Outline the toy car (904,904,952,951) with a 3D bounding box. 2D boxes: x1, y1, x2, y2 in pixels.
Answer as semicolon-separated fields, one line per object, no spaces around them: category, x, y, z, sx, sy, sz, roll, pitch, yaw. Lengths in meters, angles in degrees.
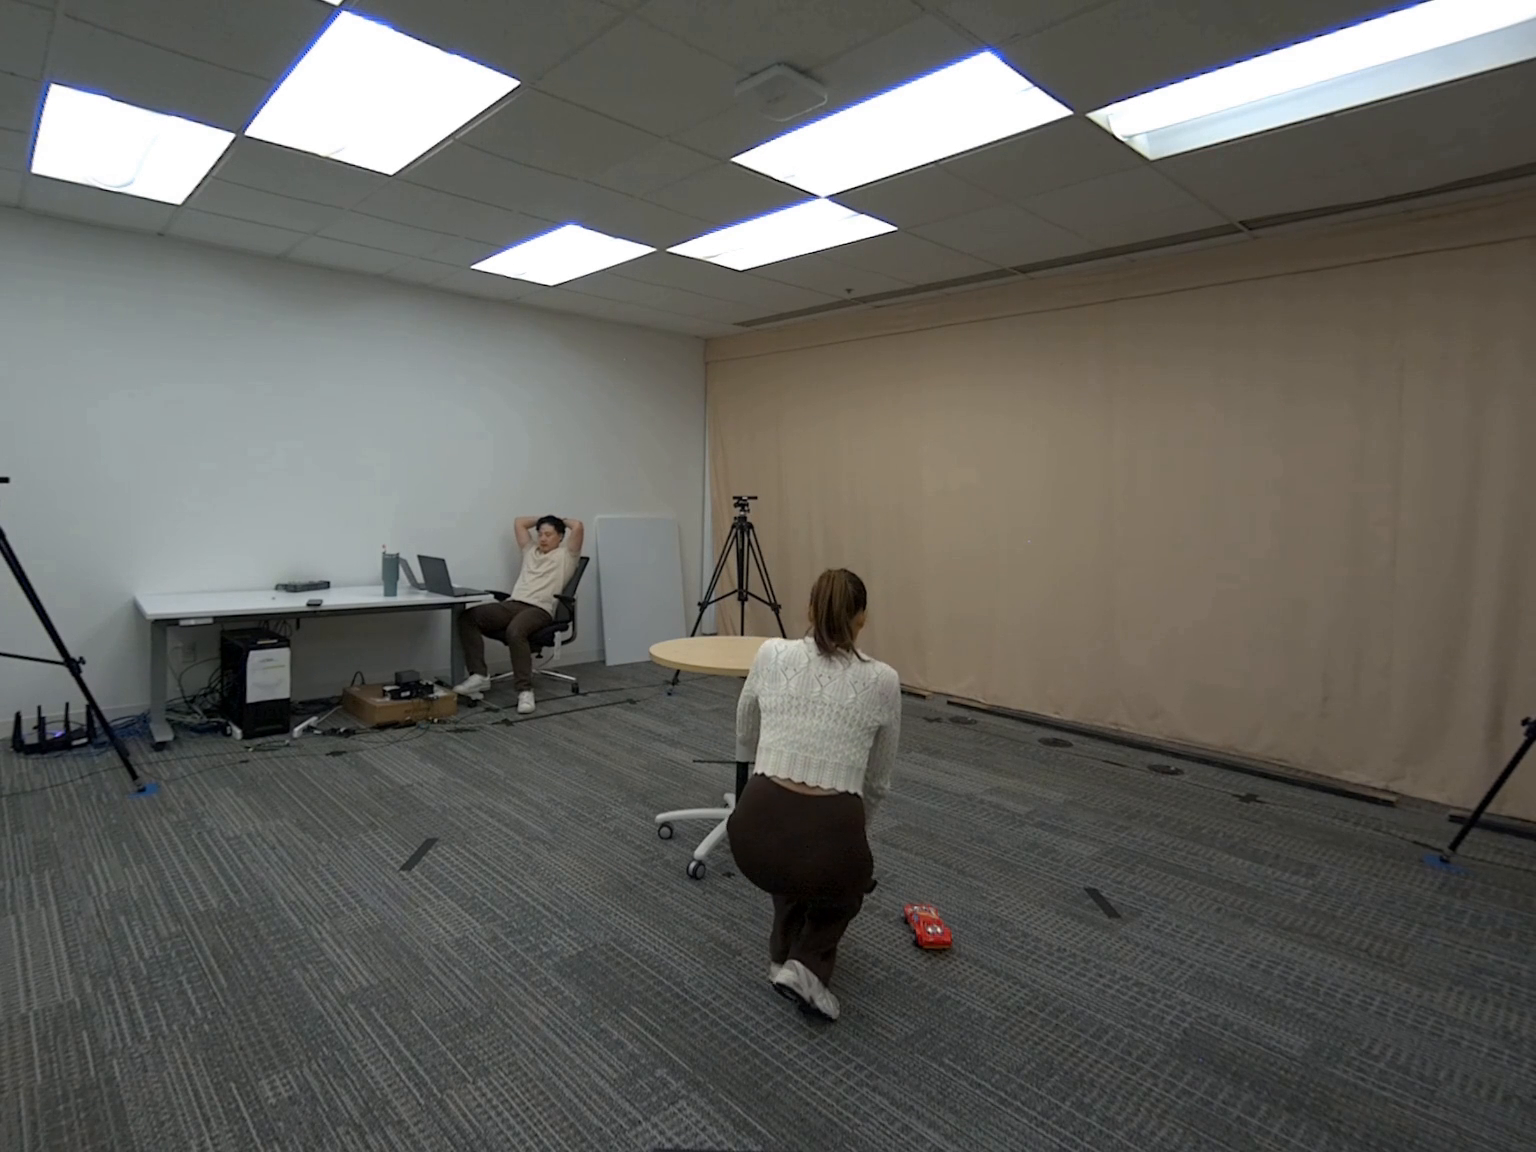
toy car;0.508;1.127;2.686;0.130;0.083;0.254;0;-5;-5
